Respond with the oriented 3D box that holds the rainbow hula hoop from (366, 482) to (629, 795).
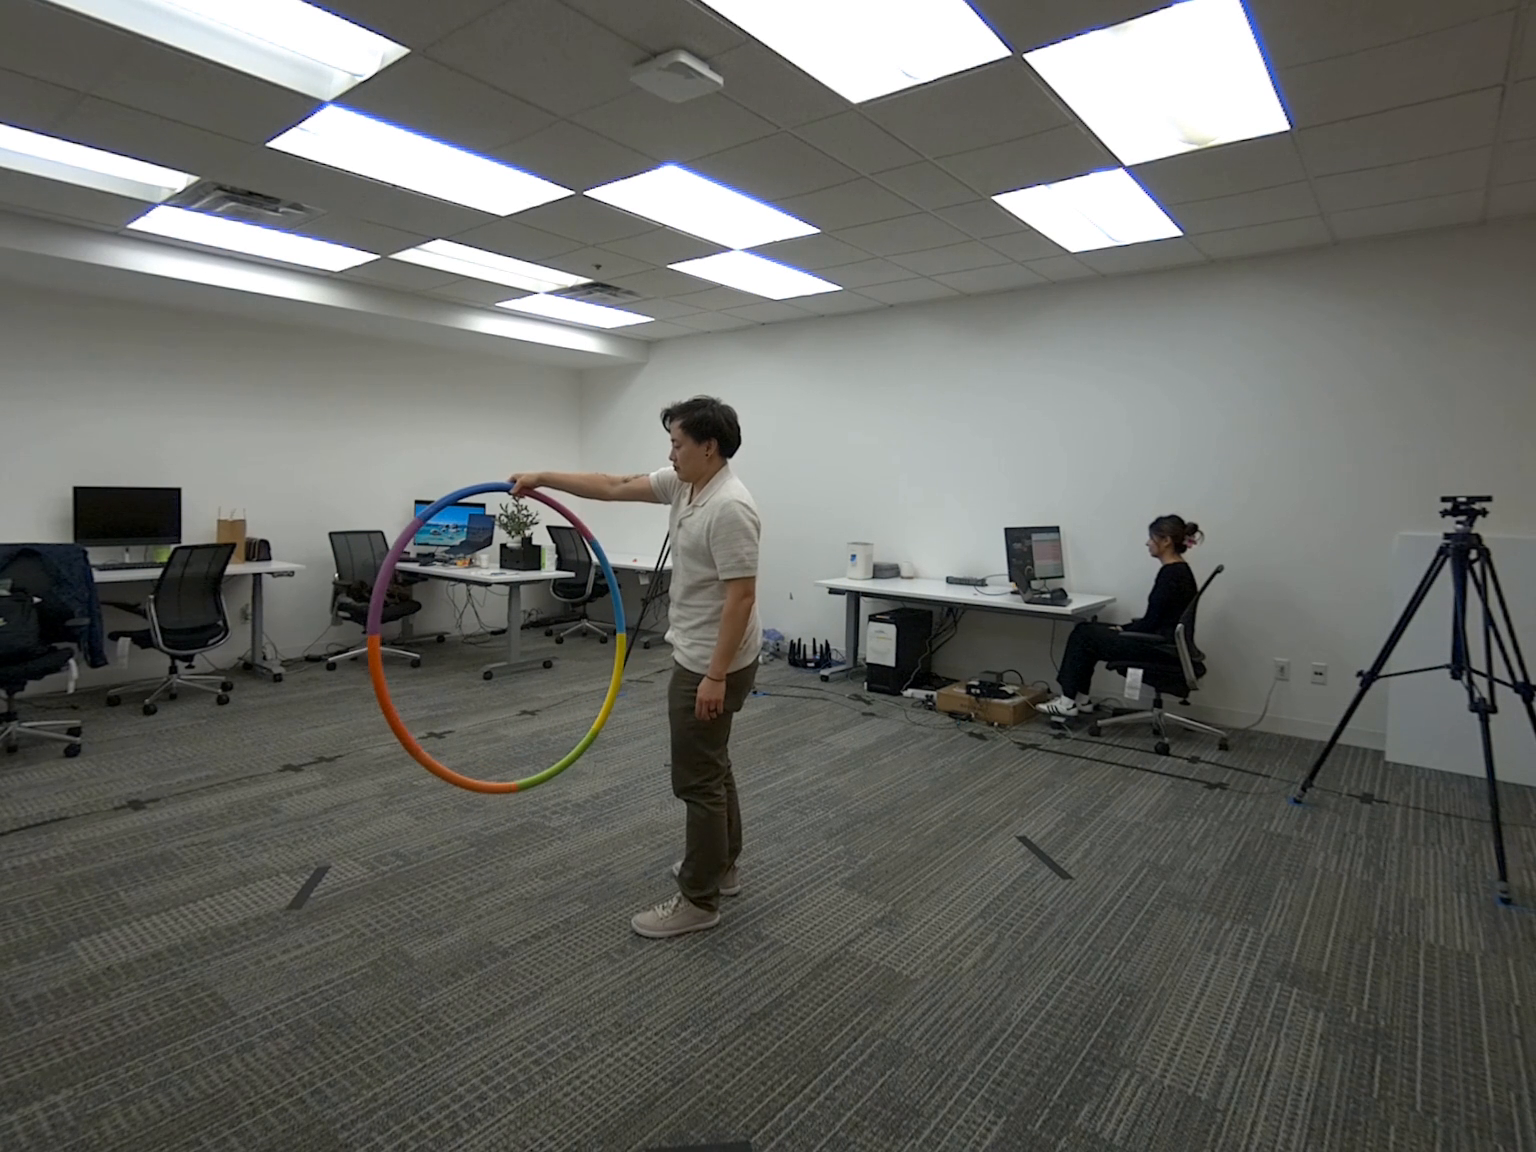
[{"bbox_3d":[-0.842,0.183,2.762,0.036,0.983,0.950,-11,-4,39],"label":"rainbow hula hoop"}]
